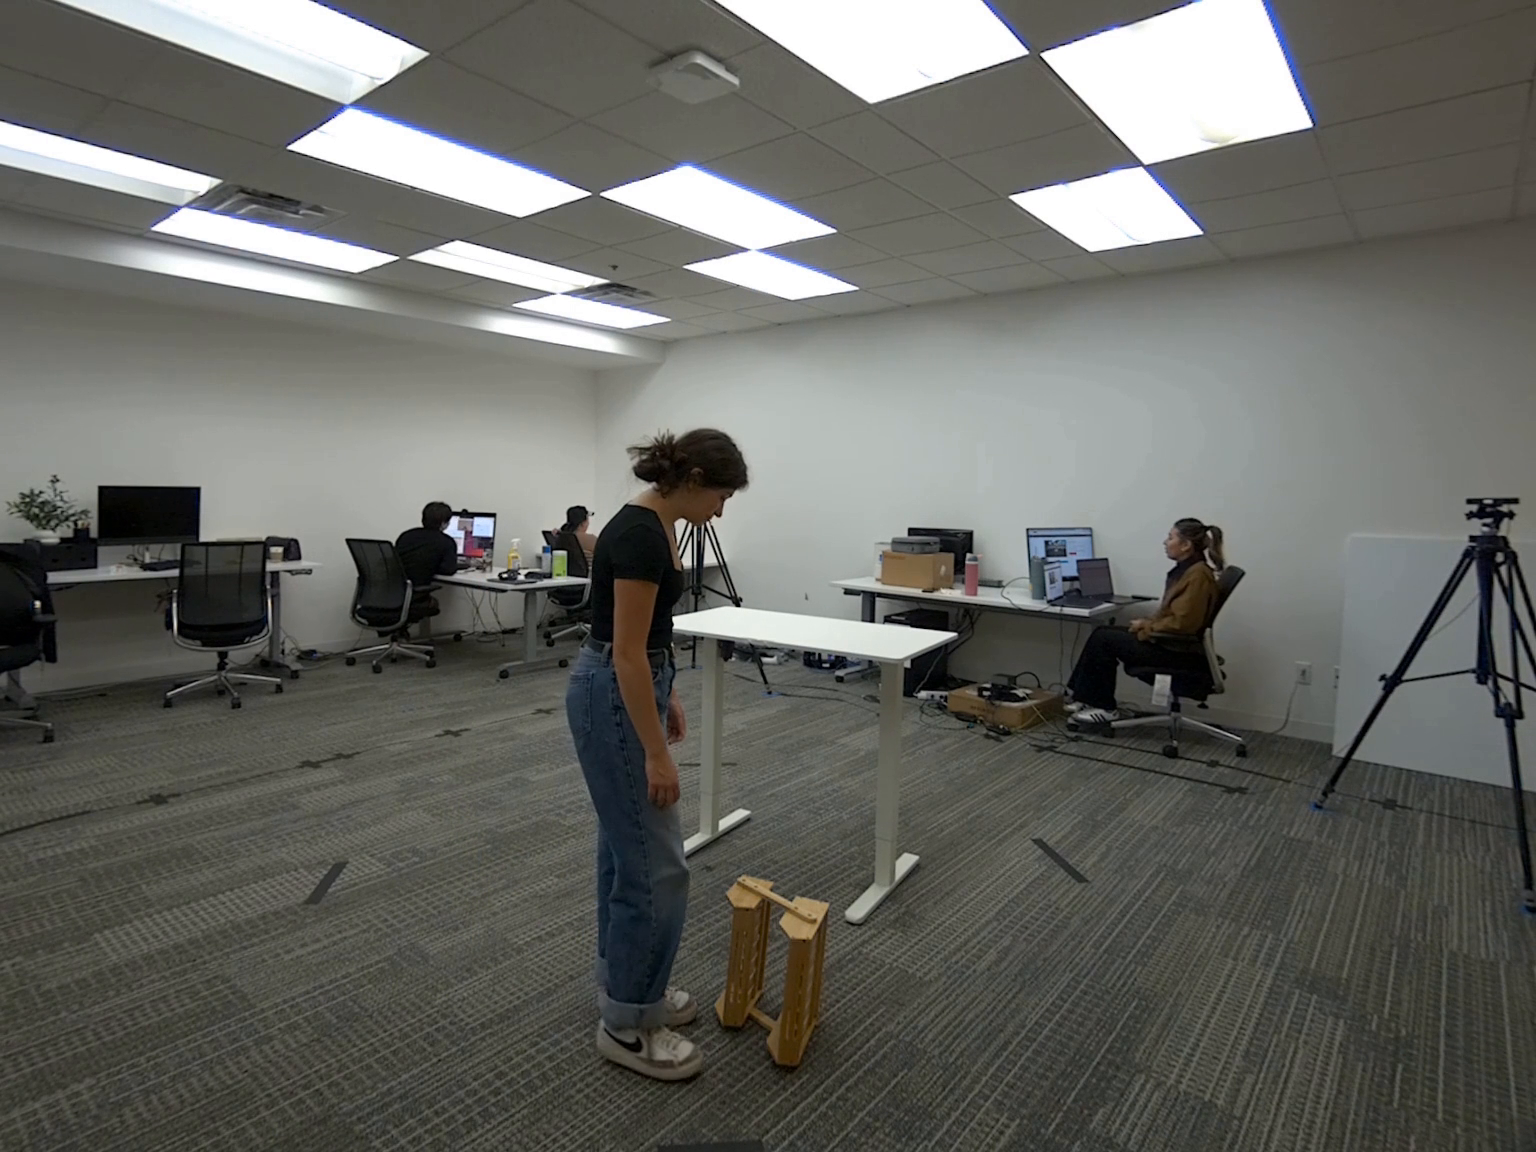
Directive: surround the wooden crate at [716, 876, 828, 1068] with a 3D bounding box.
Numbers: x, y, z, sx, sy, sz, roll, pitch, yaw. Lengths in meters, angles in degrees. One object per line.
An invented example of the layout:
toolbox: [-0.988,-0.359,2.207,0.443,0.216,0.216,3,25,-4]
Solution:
wooden crate: [-0.013,1.002,2.186,0.279,0.325,0.296,6,0,17]
